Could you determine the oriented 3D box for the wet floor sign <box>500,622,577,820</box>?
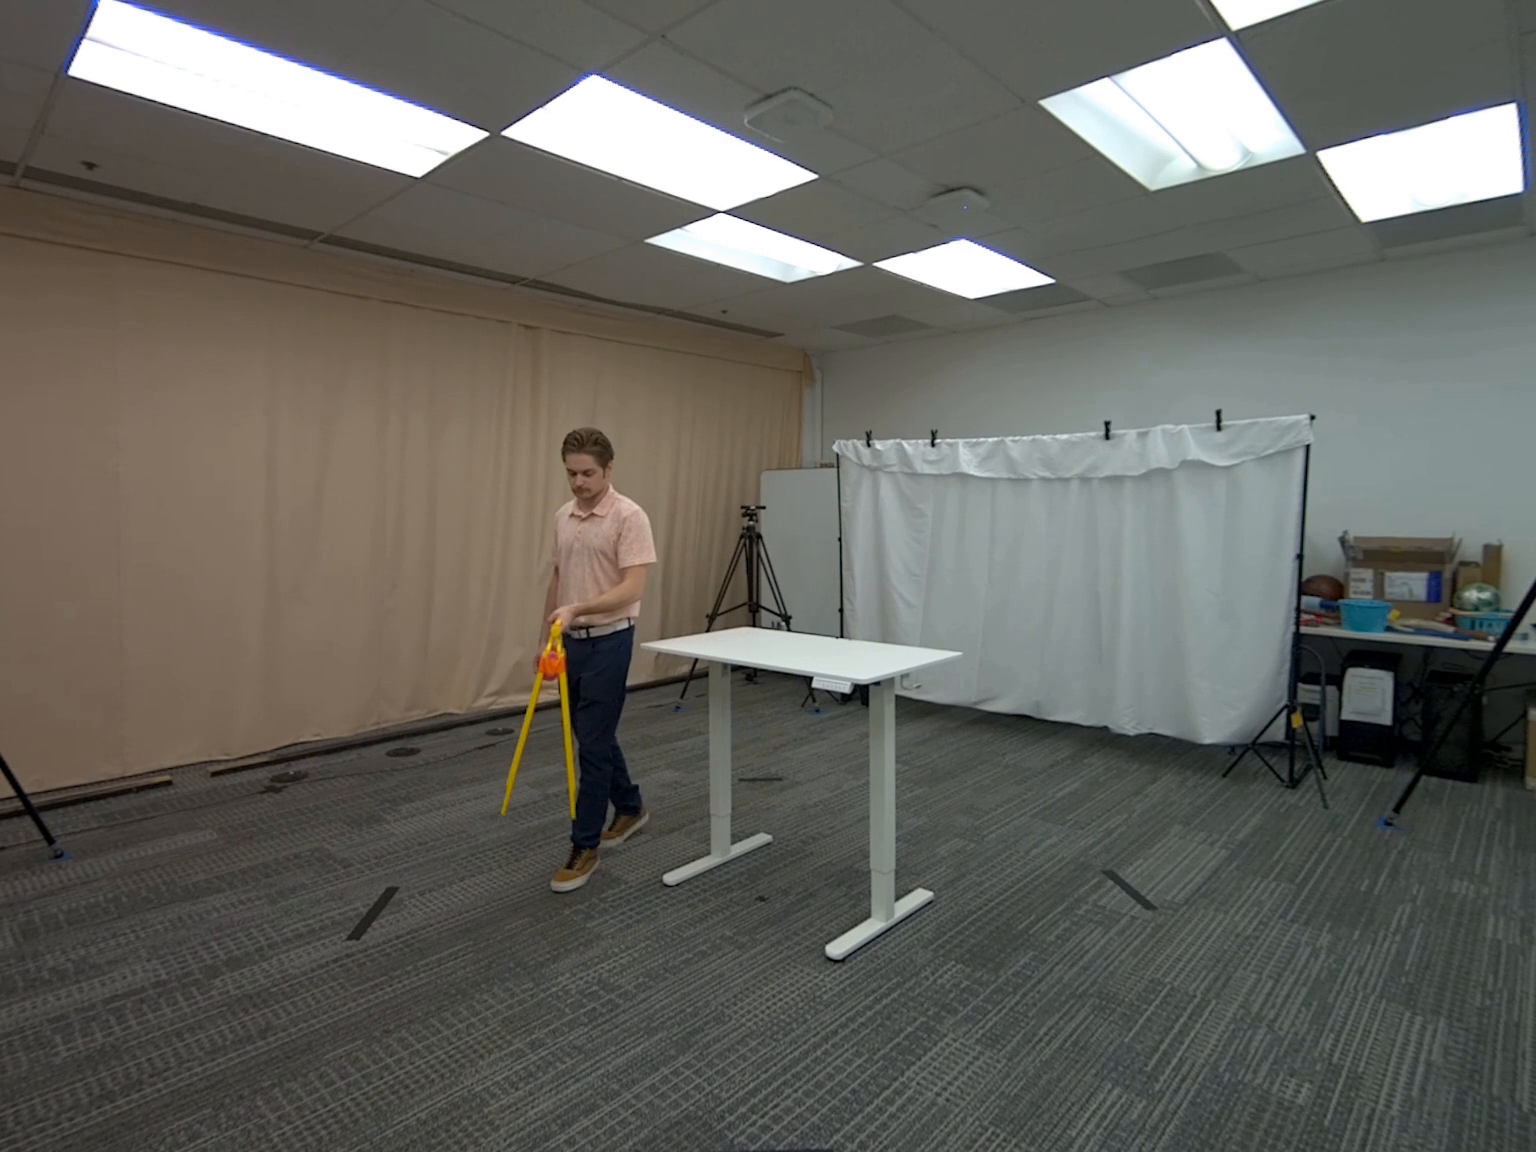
[{"bbox_3d":[-0.767,0.473,2.936,0.287,0.646,0.285,7,1,-10],"label":"wet floor sign"}]
